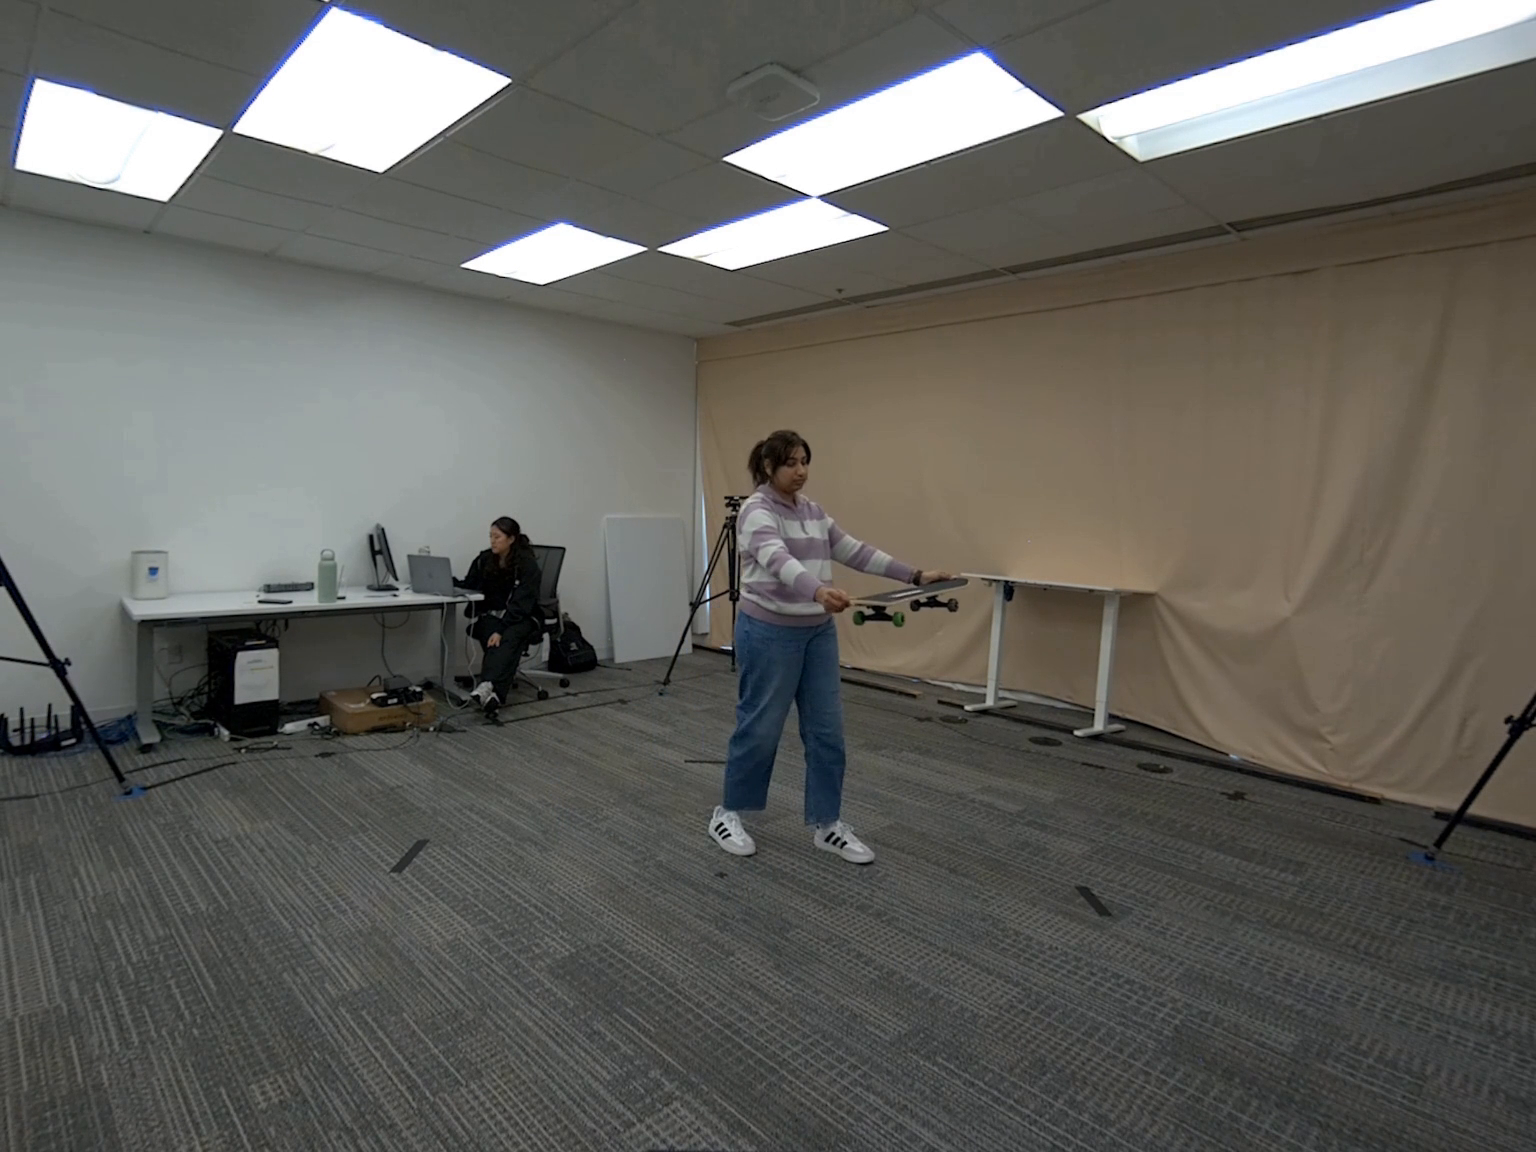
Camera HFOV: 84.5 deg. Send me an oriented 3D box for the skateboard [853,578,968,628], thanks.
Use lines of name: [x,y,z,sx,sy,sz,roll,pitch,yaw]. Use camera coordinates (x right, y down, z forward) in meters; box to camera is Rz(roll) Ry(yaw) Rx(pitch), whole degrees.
skateboard: [0.484,0.089,2.978,0.198,0.110,0.769,0,5,40]
